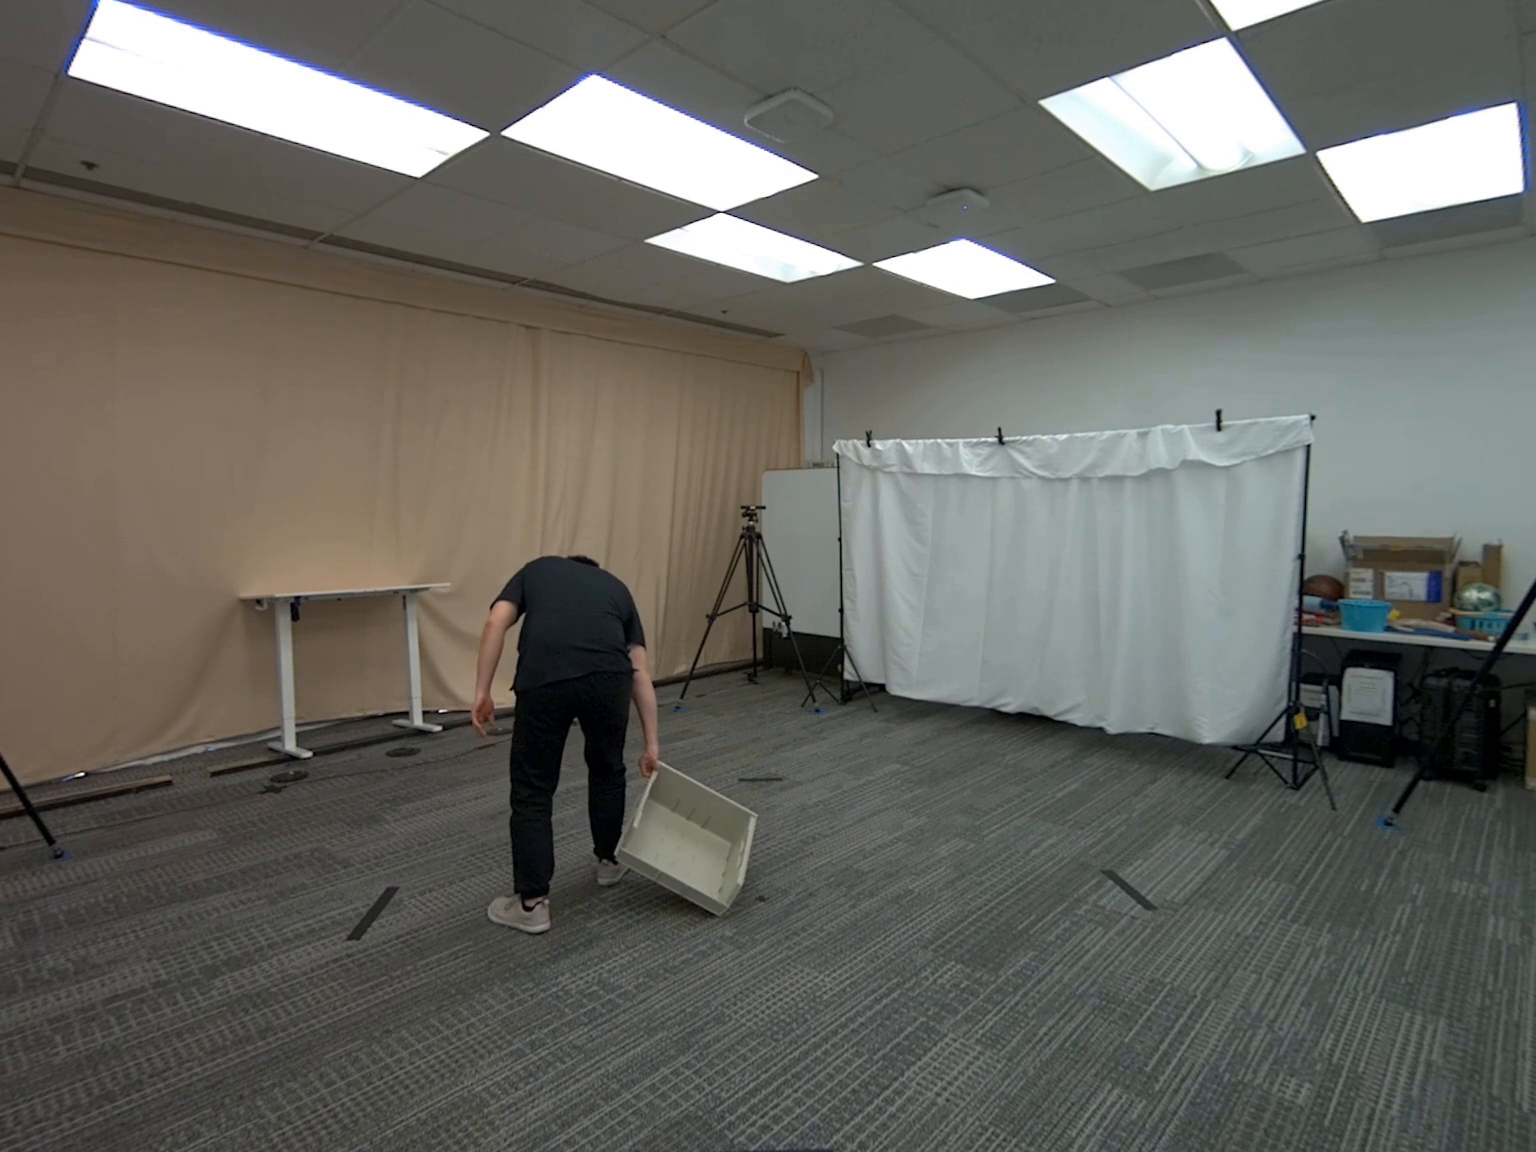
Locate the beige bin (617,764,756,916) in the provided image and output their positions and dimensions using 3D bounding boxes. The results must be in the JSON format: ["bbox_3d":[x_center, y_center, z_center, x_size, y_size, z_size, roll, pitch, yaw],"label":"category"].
[{"bbox_3d":[-0.279,0.931,2.964,0.421,0.189,0.379,28,23,-4],"label":"beige bin"}]
